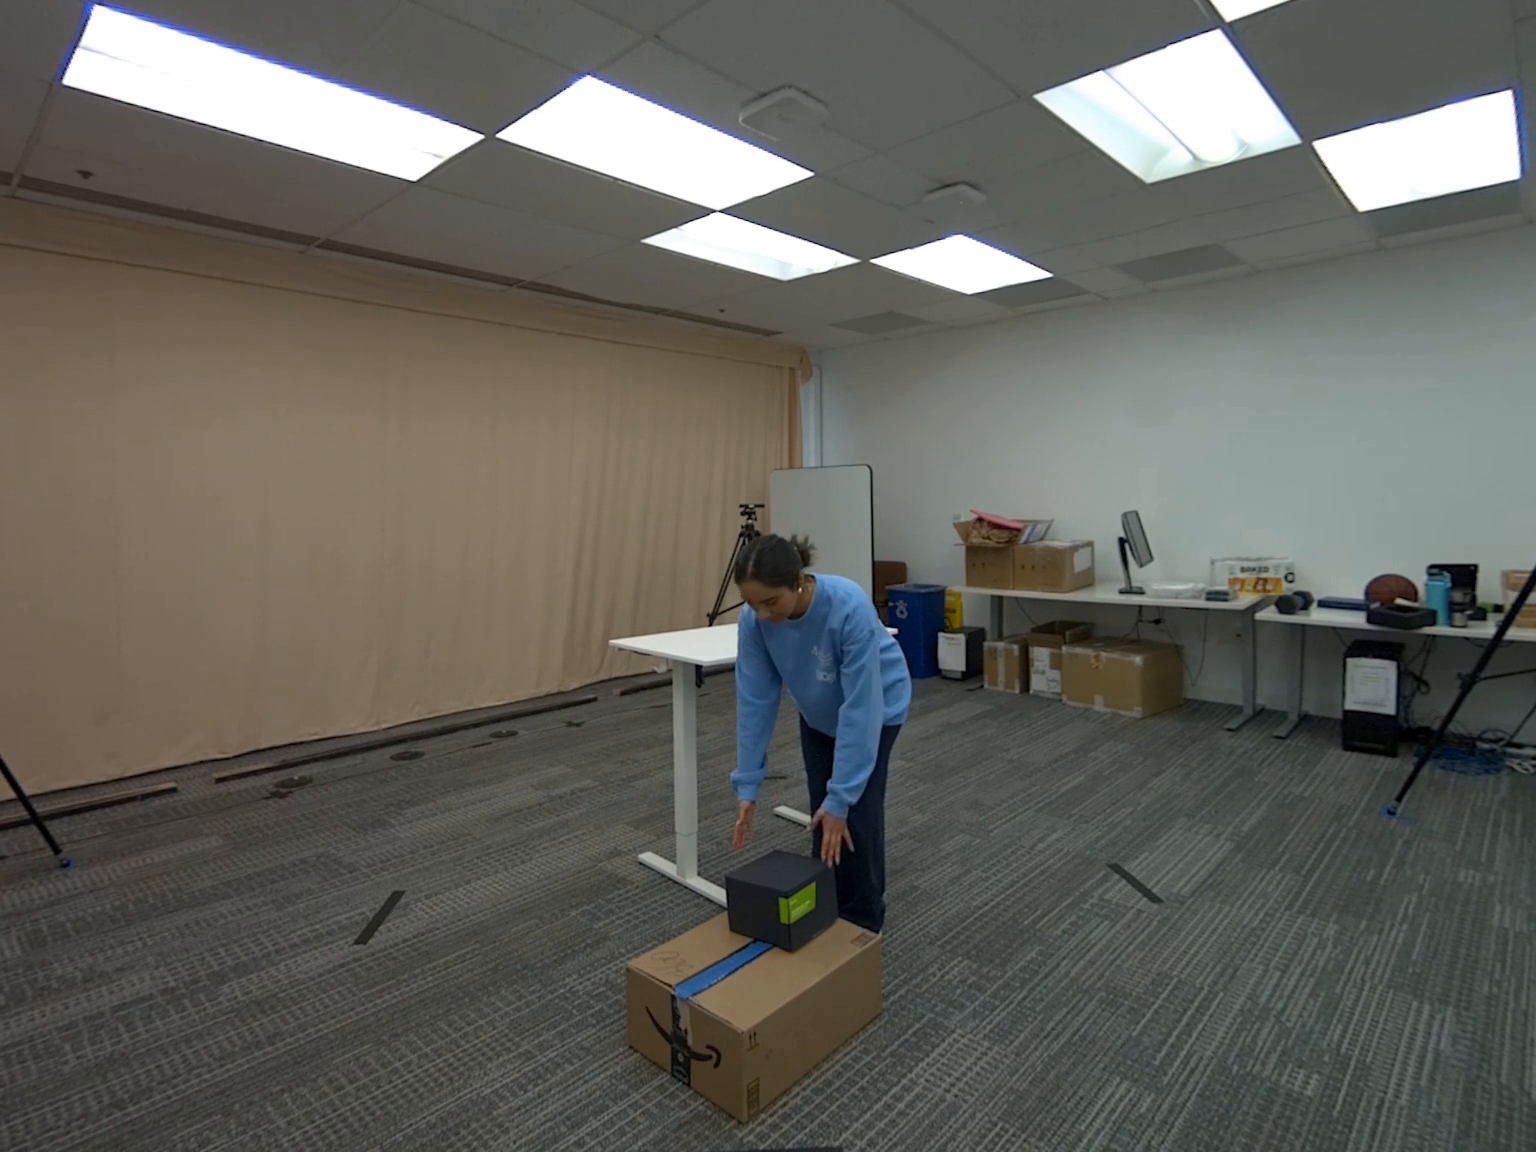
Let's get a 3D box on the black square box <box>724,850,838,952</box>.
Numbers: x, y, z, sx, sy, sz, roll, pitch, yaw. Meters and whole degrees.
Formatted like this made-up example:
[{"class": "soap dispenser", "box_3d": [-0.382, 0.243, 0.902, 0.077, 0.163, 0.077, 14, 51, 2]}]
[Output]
[{"class": "black square box", "box_3d": [0.040, 0.885, 2.345, 0.224, 0.156, 0.221, -3, 2, 39]}]
